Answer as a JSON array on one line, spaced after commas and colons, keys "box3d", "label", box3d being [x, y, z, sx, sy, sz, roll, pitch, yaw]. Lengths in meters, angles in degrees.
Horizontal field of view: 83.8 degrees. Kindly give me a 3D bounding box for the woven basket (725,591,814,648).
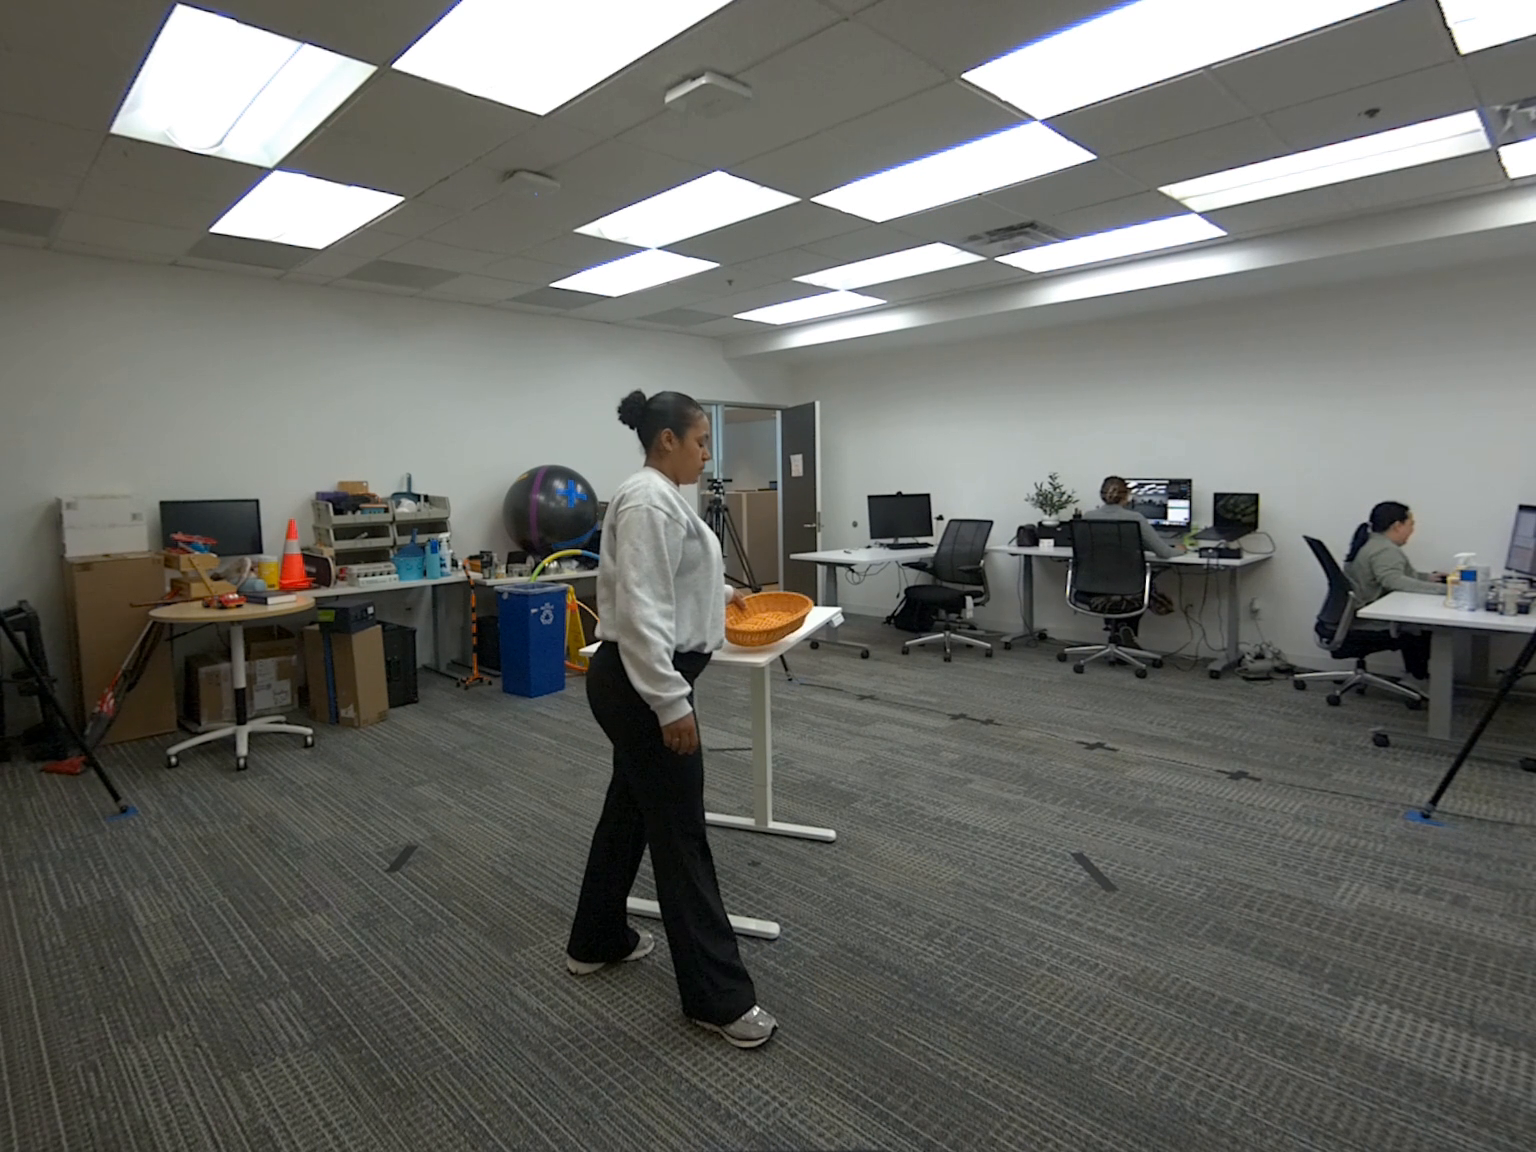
[{"box3d": [-0.003, 0.142, 2.617, 0.261, 0.072, 0.344, 12, 23, 41], "label": "woven basket"}]
